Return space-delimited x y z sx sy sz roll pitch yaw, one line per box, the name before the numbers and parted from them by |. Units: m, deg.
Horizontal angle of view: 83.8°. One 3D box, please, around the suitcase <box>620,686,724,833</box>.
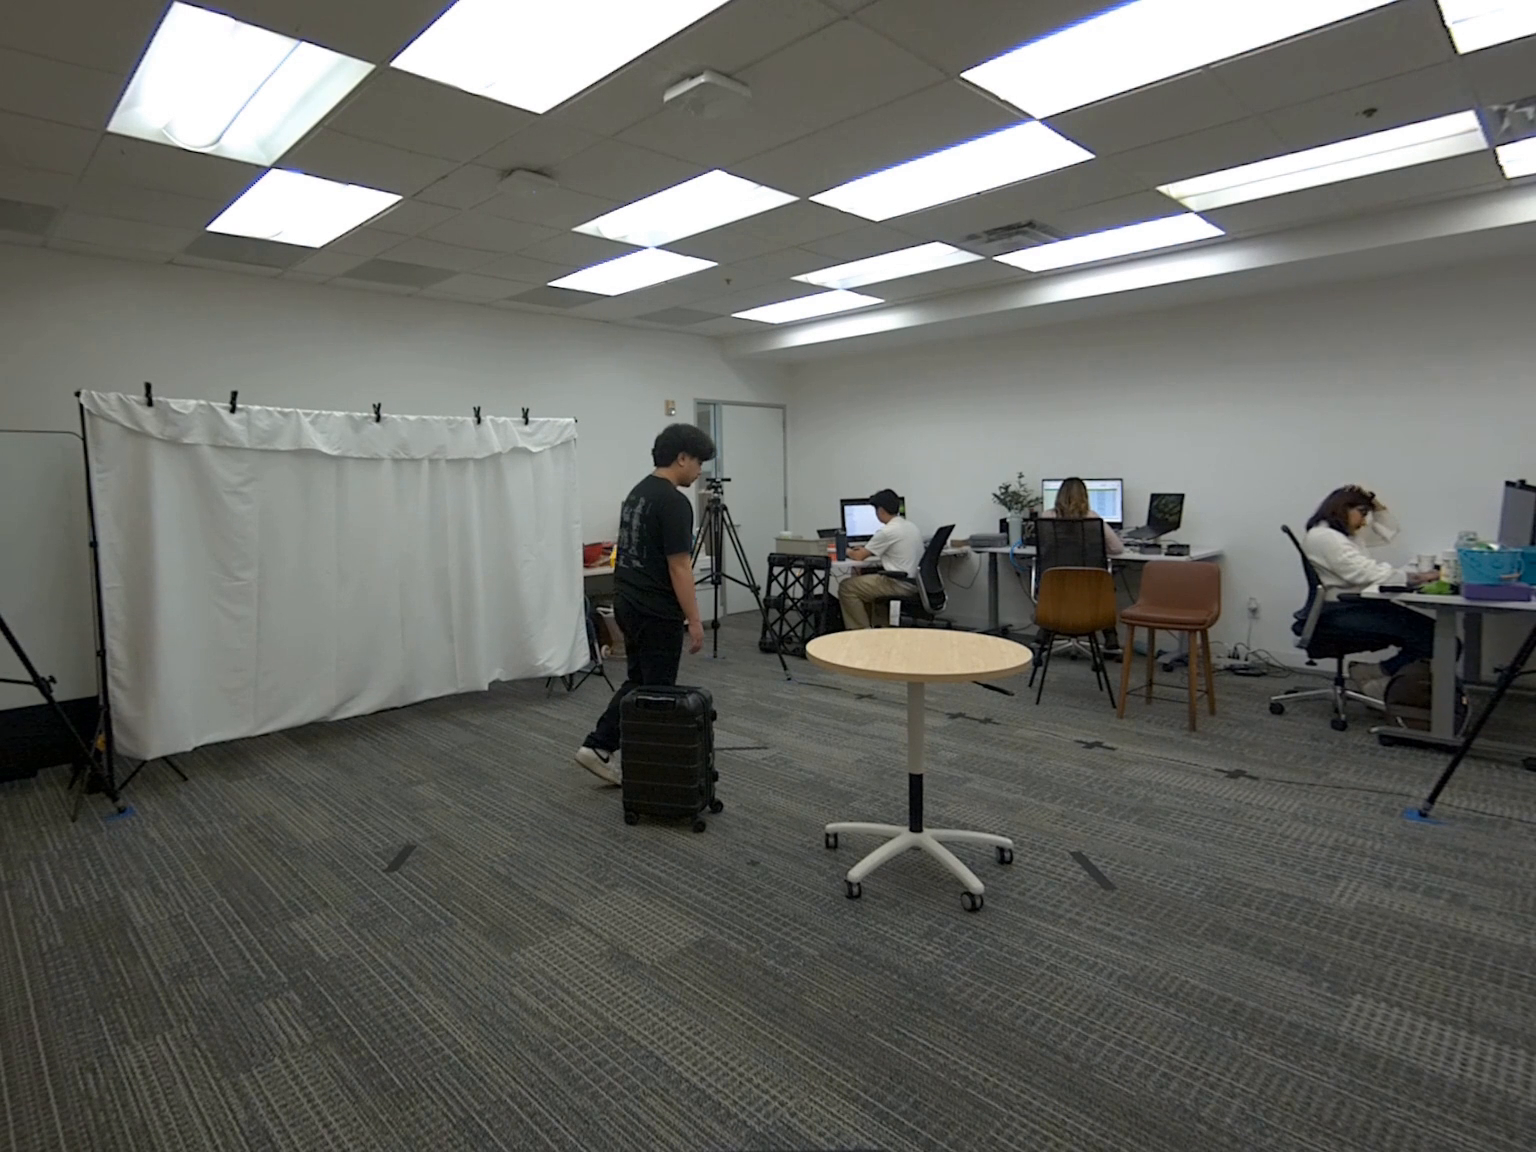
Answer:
suitcase | -0.409 0.731 3.529 0.382 0.548 0.245 -2 3 17
